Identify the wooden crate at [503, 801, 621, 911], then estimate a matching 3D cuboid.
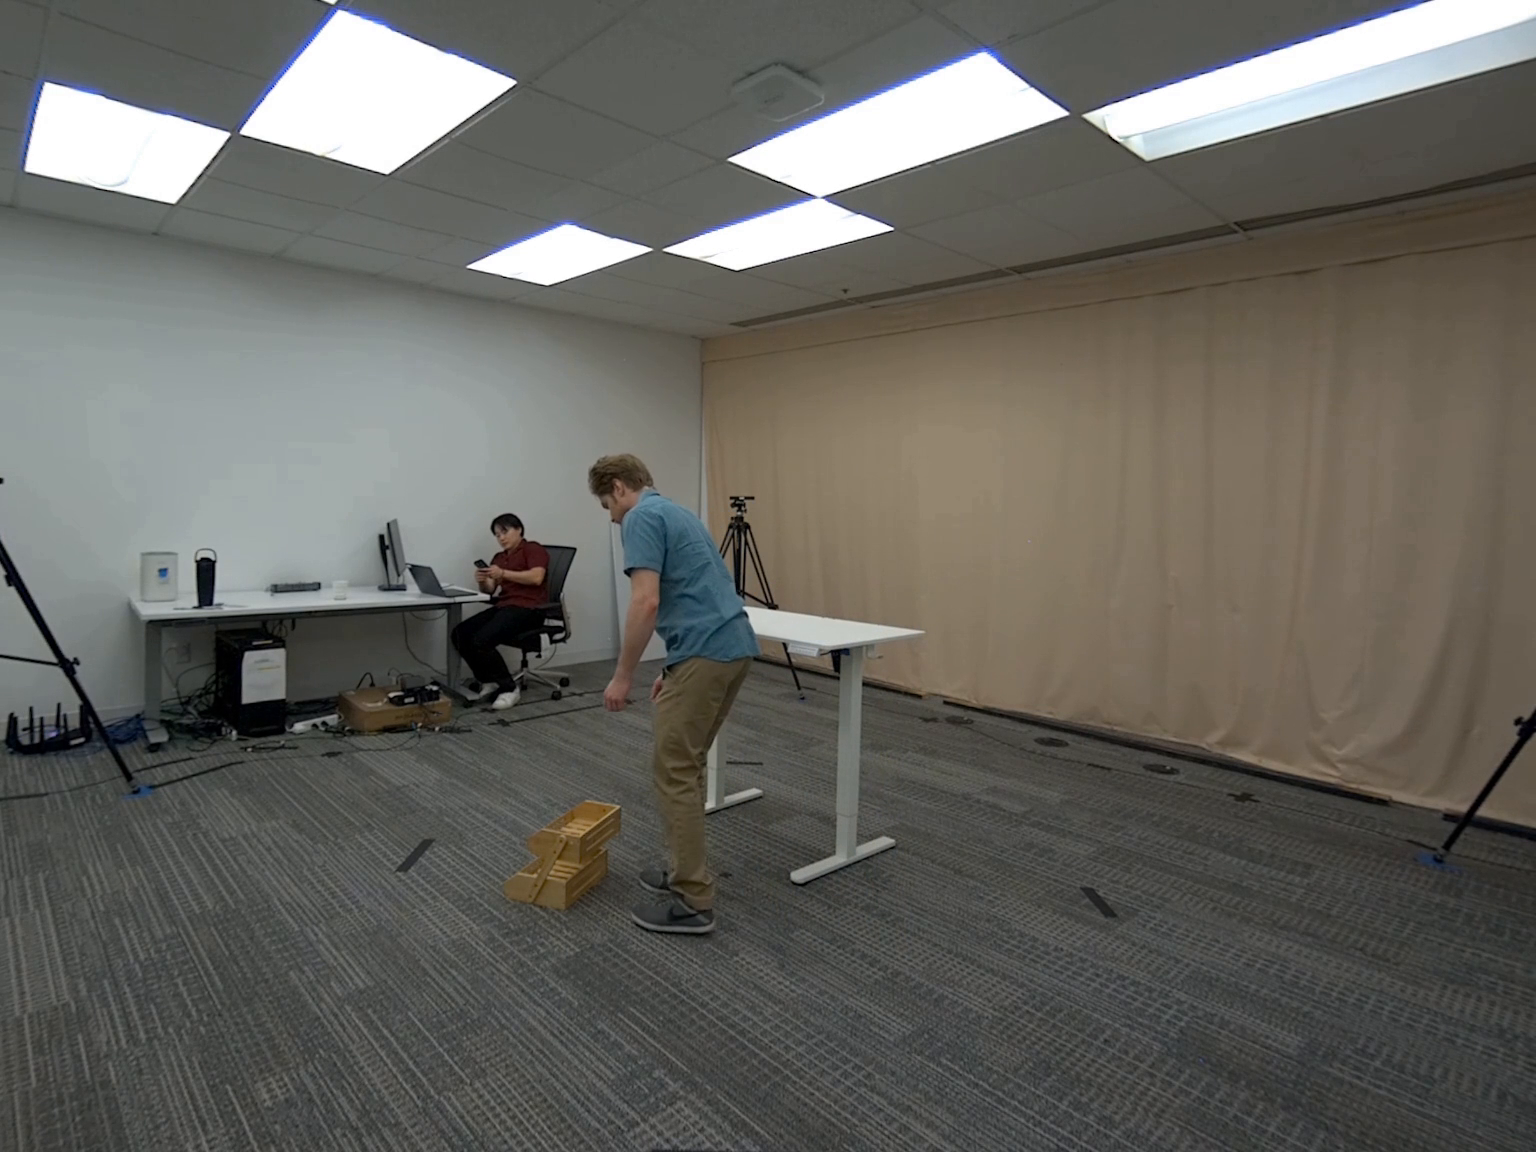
[{"bbox_3d":[-0.739,0.970,2.979,0.306,0.272,0.320,3,5,18],"label":"wooden crate"}]
